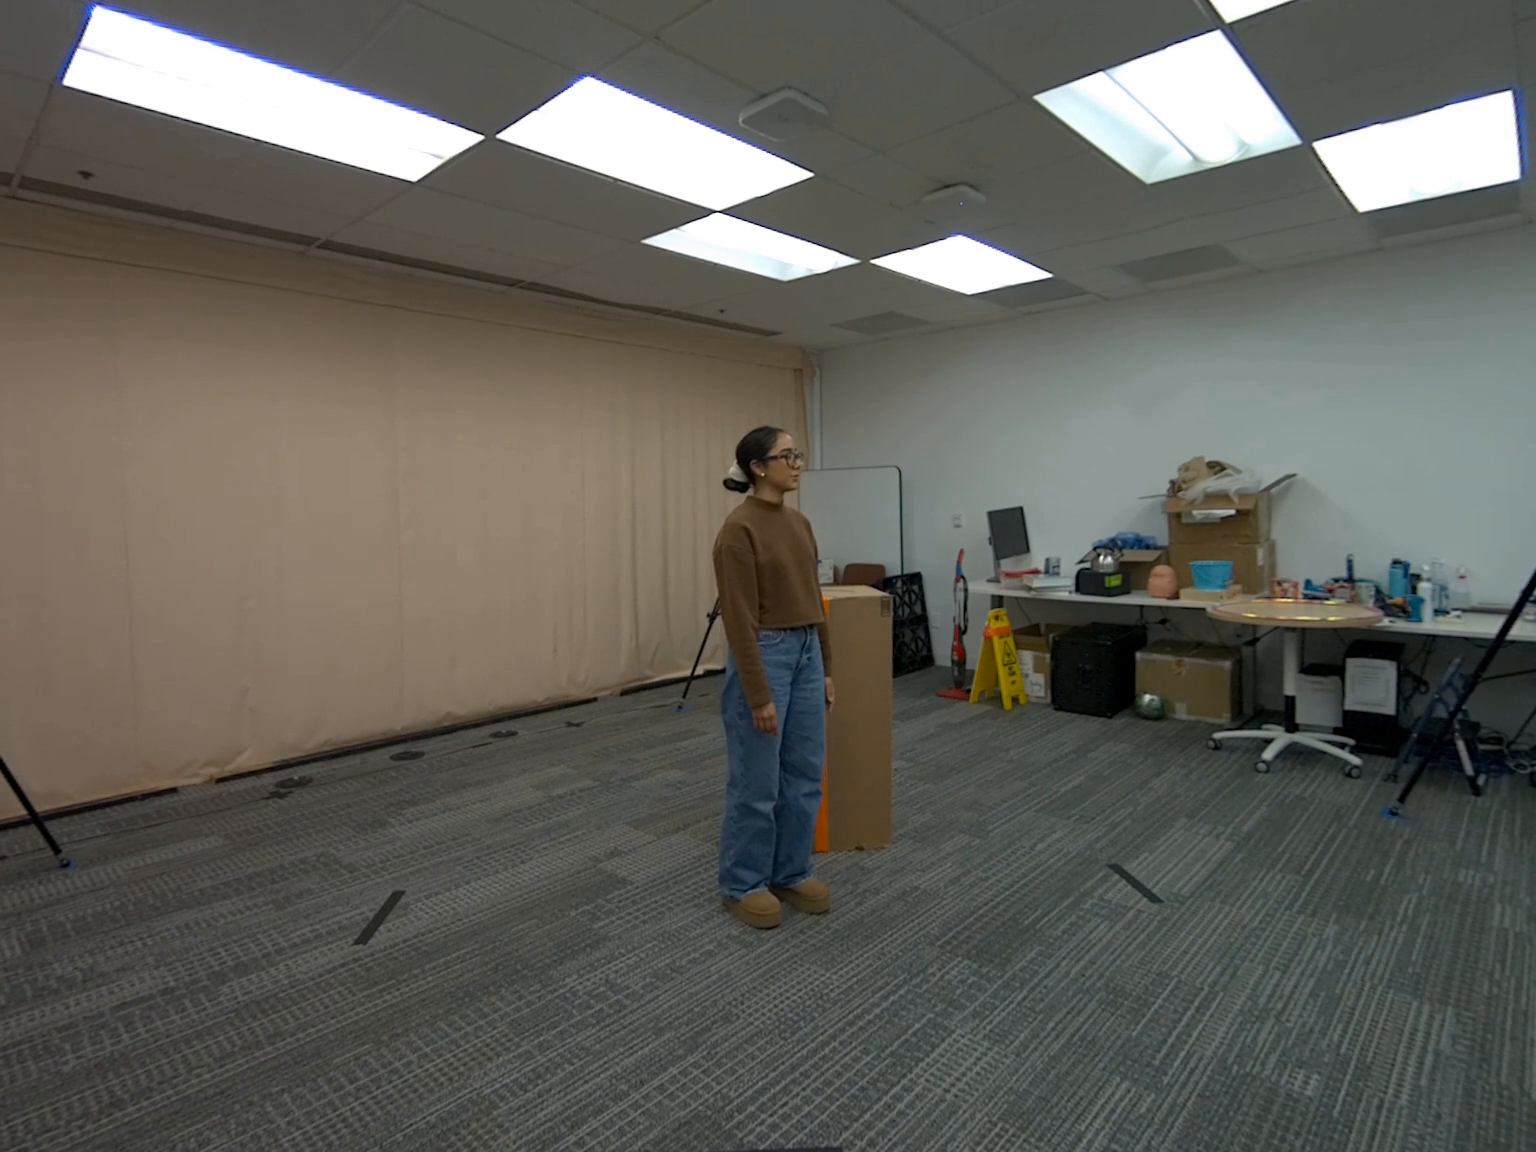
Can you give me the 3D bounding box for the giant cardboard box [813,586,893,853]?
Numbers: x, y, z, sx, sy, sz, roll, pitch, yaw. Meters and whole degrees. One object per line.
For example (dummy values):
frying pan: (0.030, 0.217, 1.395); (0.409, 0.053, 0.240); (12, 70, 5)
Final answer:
giant cardboard box: (0.190, 0.574, 3.554); (0.574, 1.024, 0.430); (-2, 3, -7)
